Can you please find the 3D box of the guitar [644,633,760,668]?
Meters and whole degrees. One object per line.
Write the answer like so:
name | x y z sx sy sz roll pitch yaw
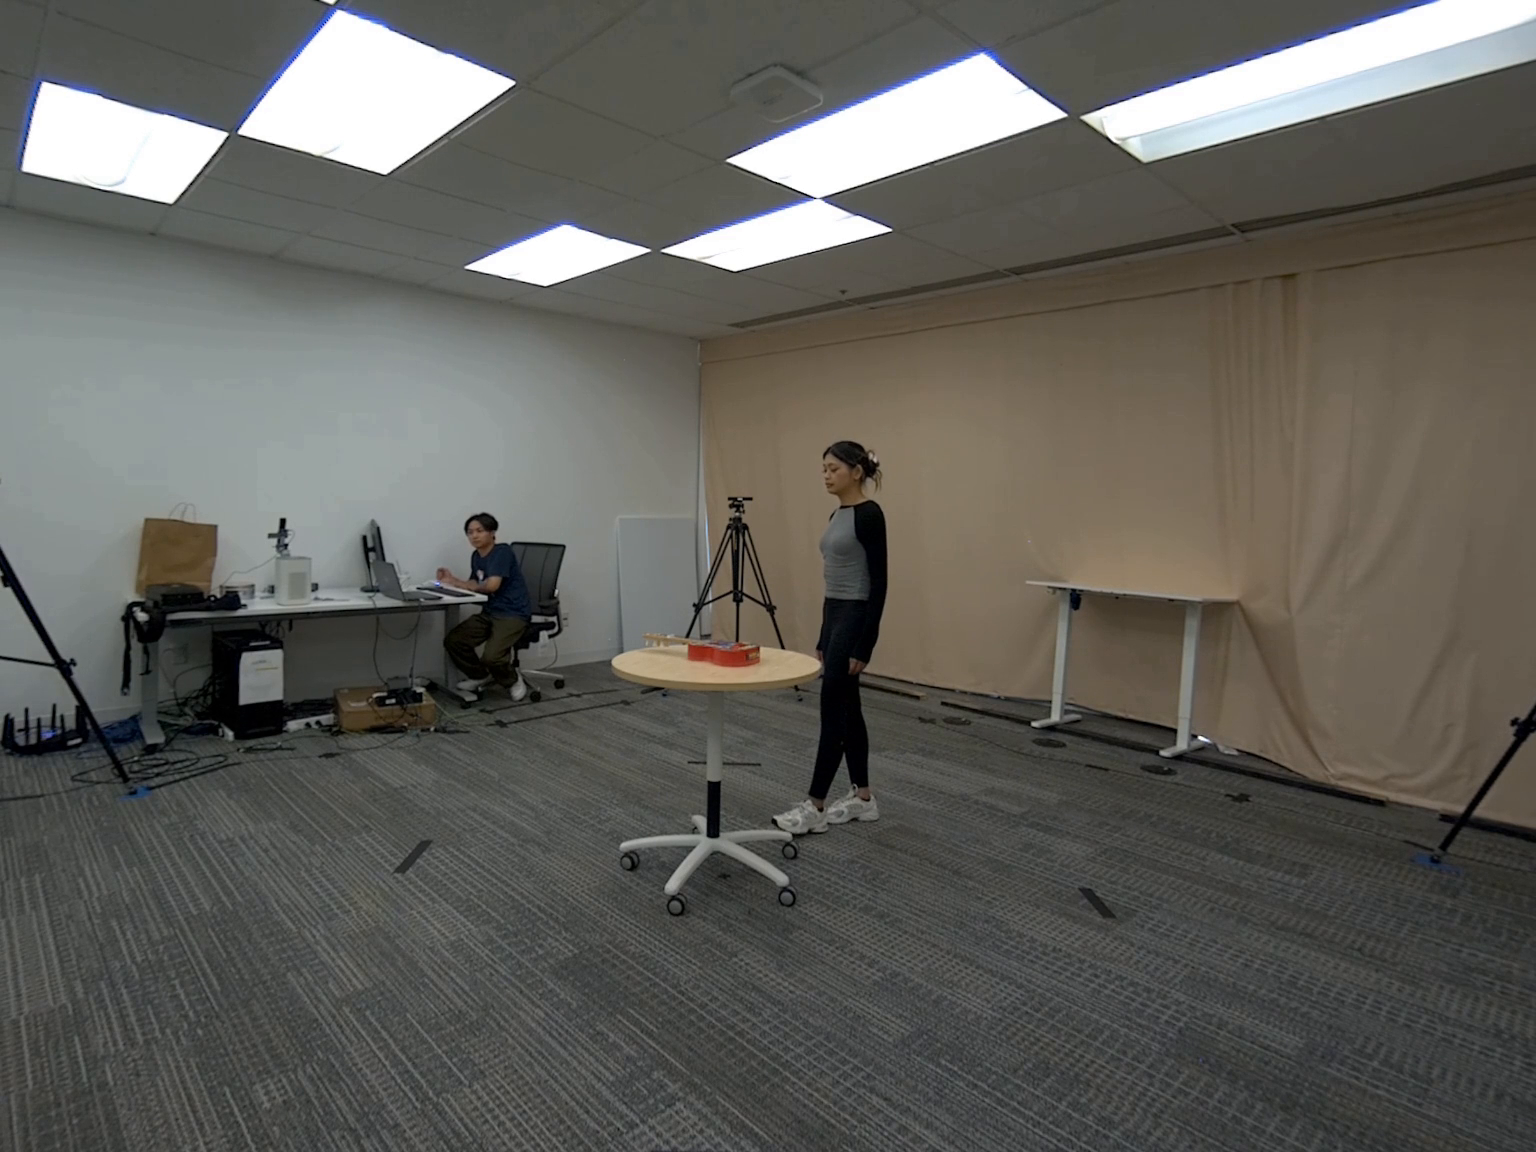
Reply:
guitar | -0.255 0.274 3.189 0.510 0.070 0.189 5 6 39
